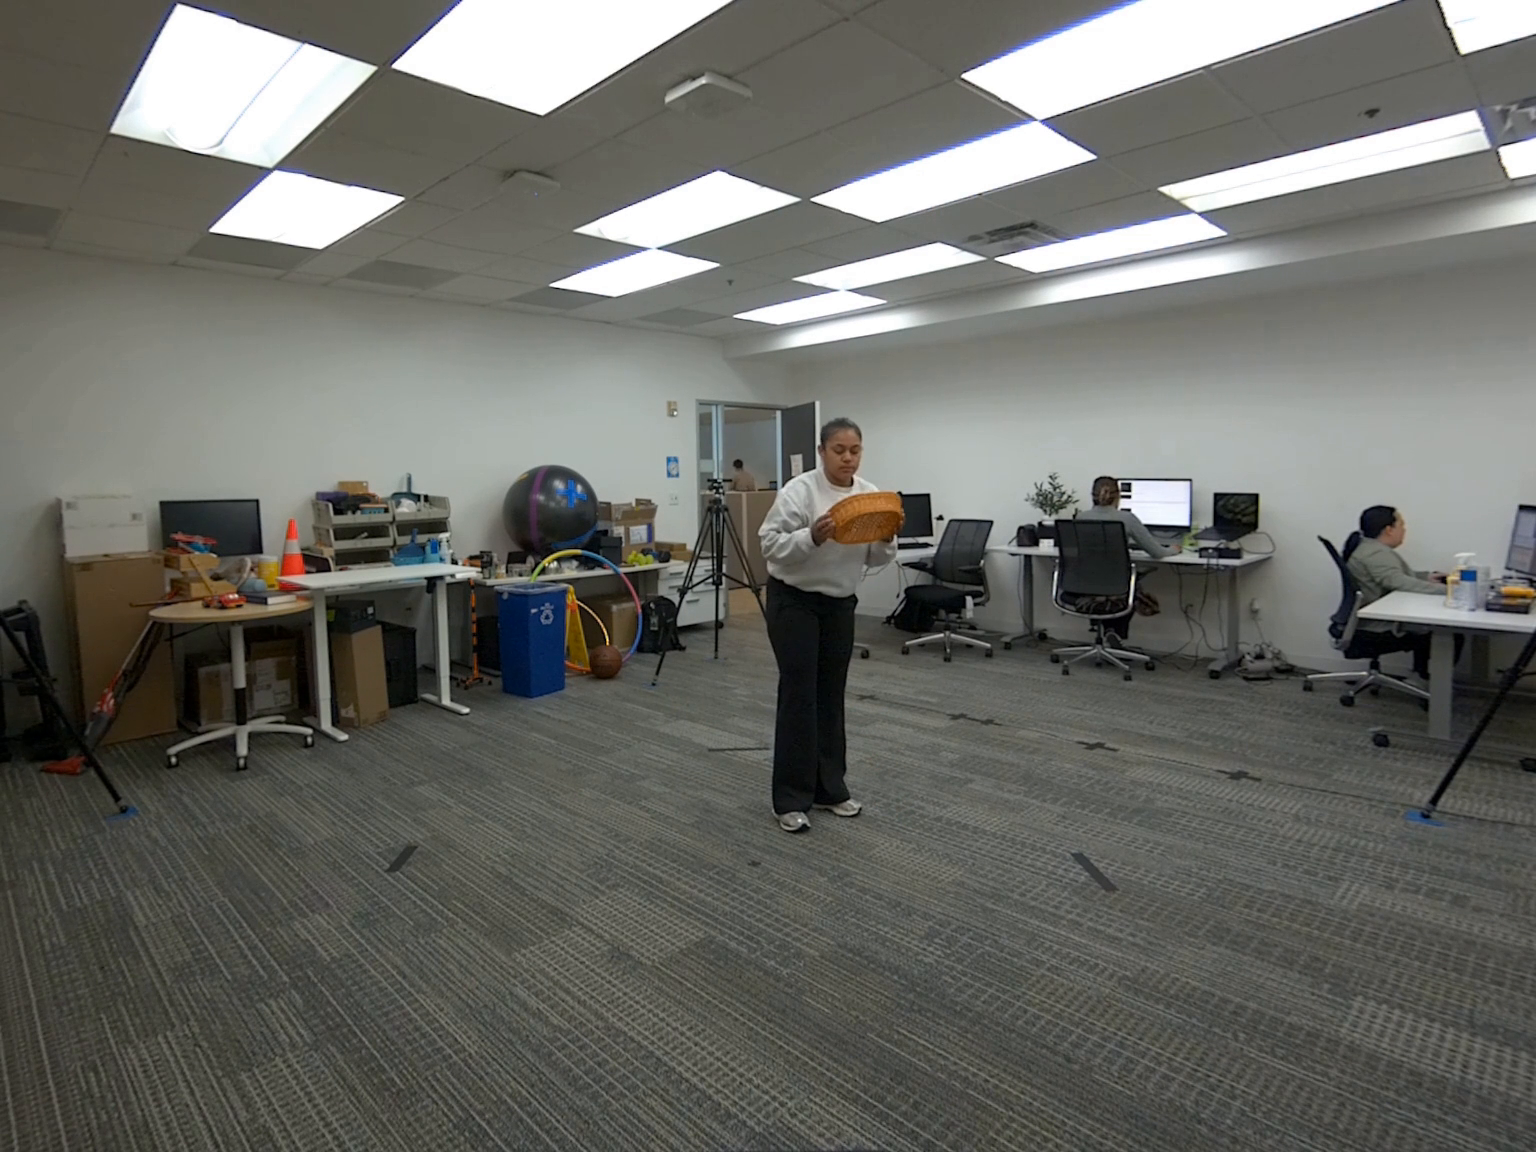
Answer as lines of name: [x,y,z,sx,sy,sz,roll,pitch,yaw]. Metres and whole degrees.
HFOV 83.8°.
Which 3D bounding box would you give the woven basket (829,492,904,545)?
woven basket: [0.357,-0.192,3.212,0.343,0.076,0.249,-5,-39,-29]
